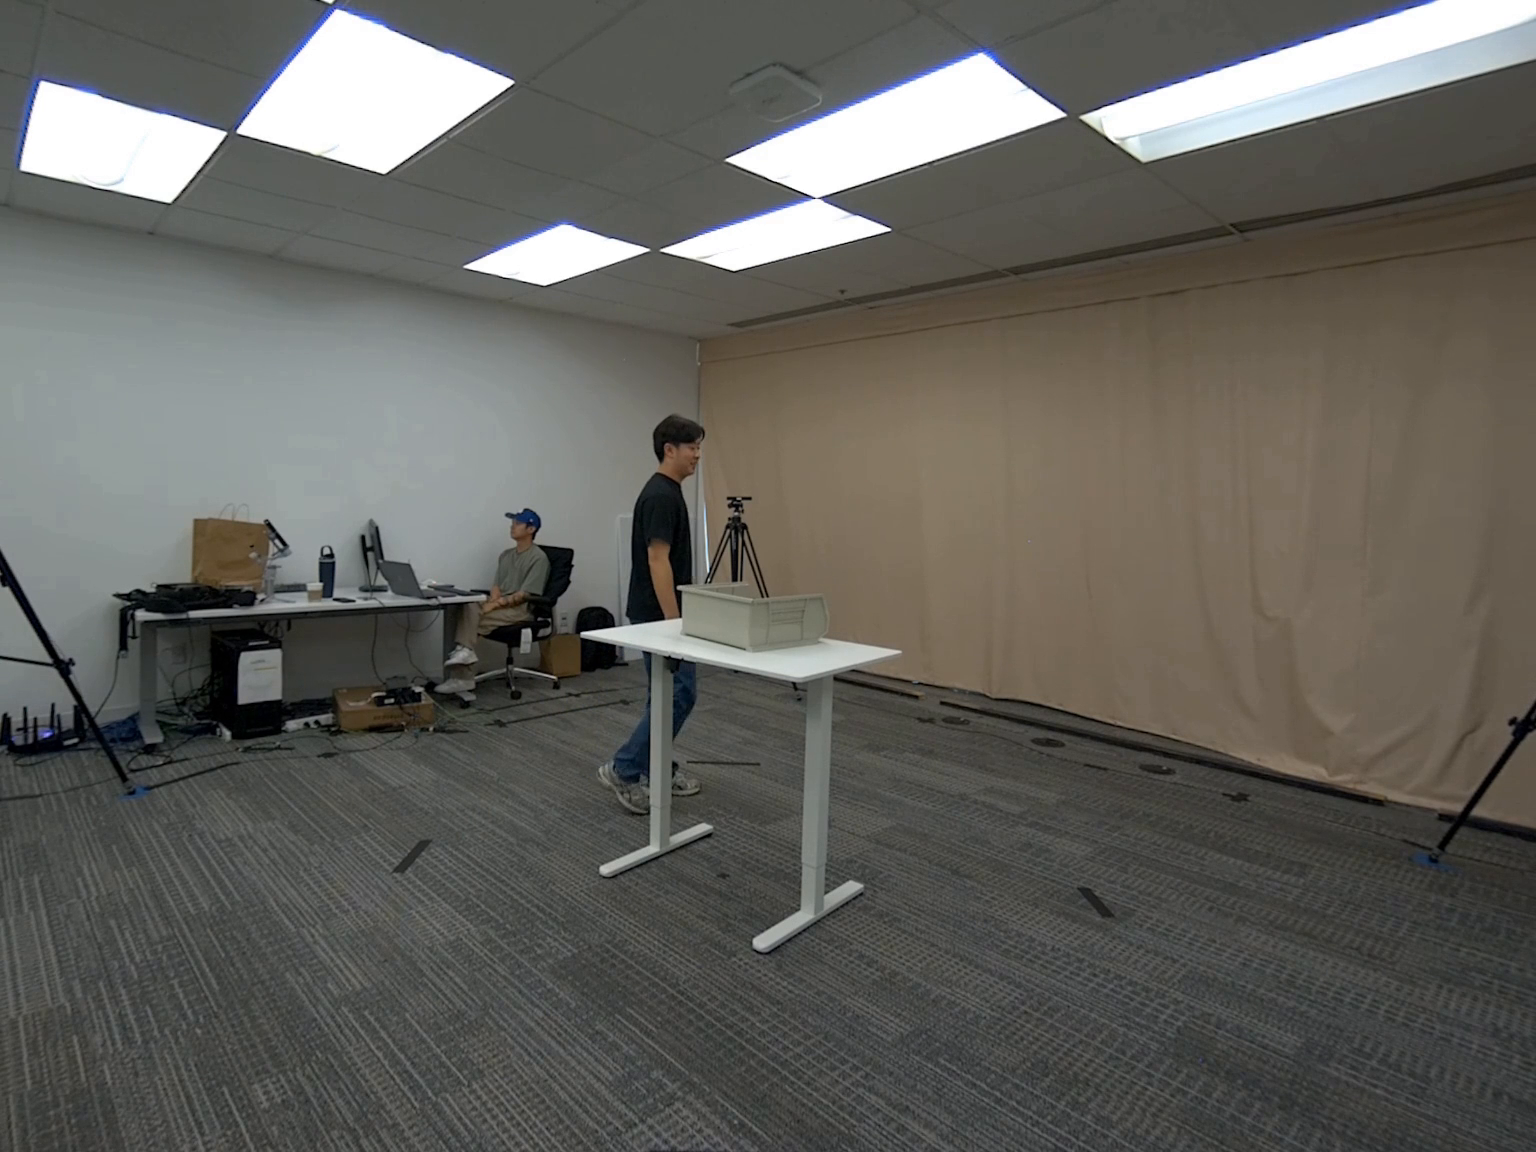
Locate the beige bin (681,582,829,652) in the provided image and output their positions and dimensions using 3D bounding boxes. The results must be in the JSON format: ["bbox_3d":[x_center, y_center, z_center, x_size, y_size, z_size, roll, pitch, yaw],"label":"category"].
[{"bbox_3d":[-0.059,0.142,3.054,0.369,0.188,0.433,-4,8,-40],"label":"beige bin"}]
